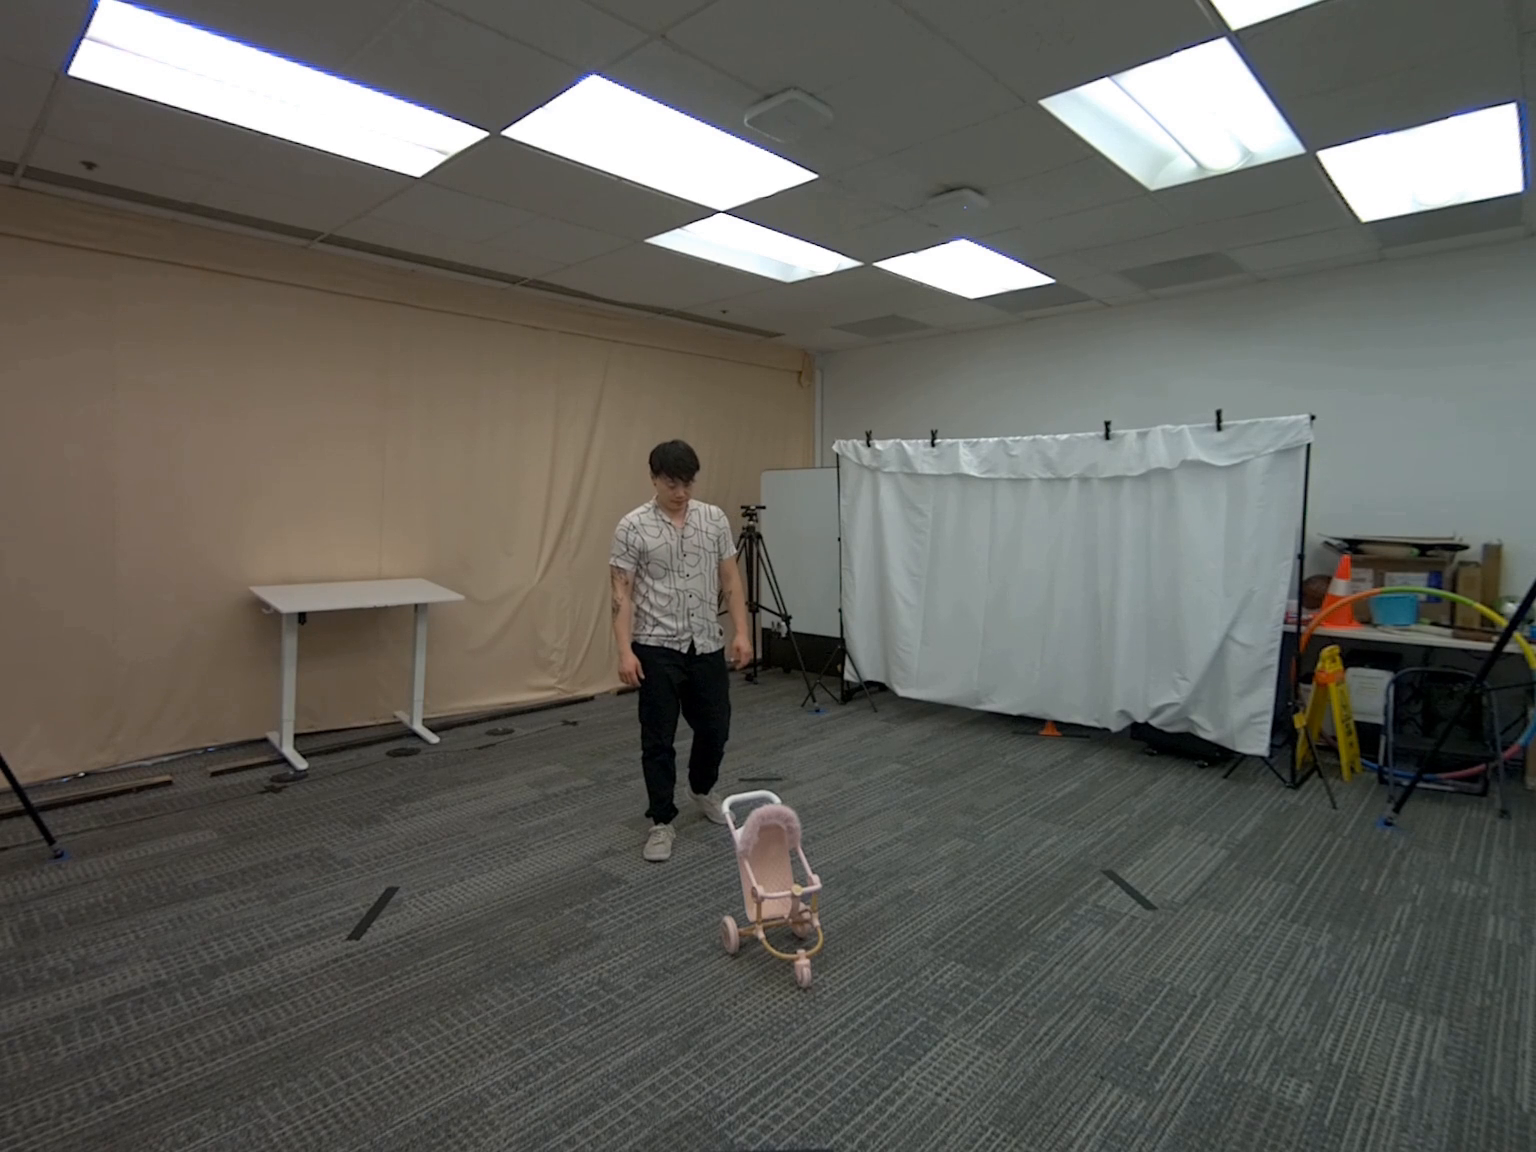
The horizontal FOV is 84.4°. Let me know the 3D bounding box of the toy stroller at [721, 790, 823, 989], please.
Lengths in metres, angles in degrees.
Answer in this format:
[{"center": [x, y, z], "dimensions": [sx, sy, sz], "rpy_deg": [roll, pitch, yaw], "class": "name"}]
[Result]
[{"center": [0.024, 0.951, 2.600], "dimensions": [0.276, 0.540, 0.345], "rpy_deg": [-1, -12, -20], "class": "toy stroller"}]
